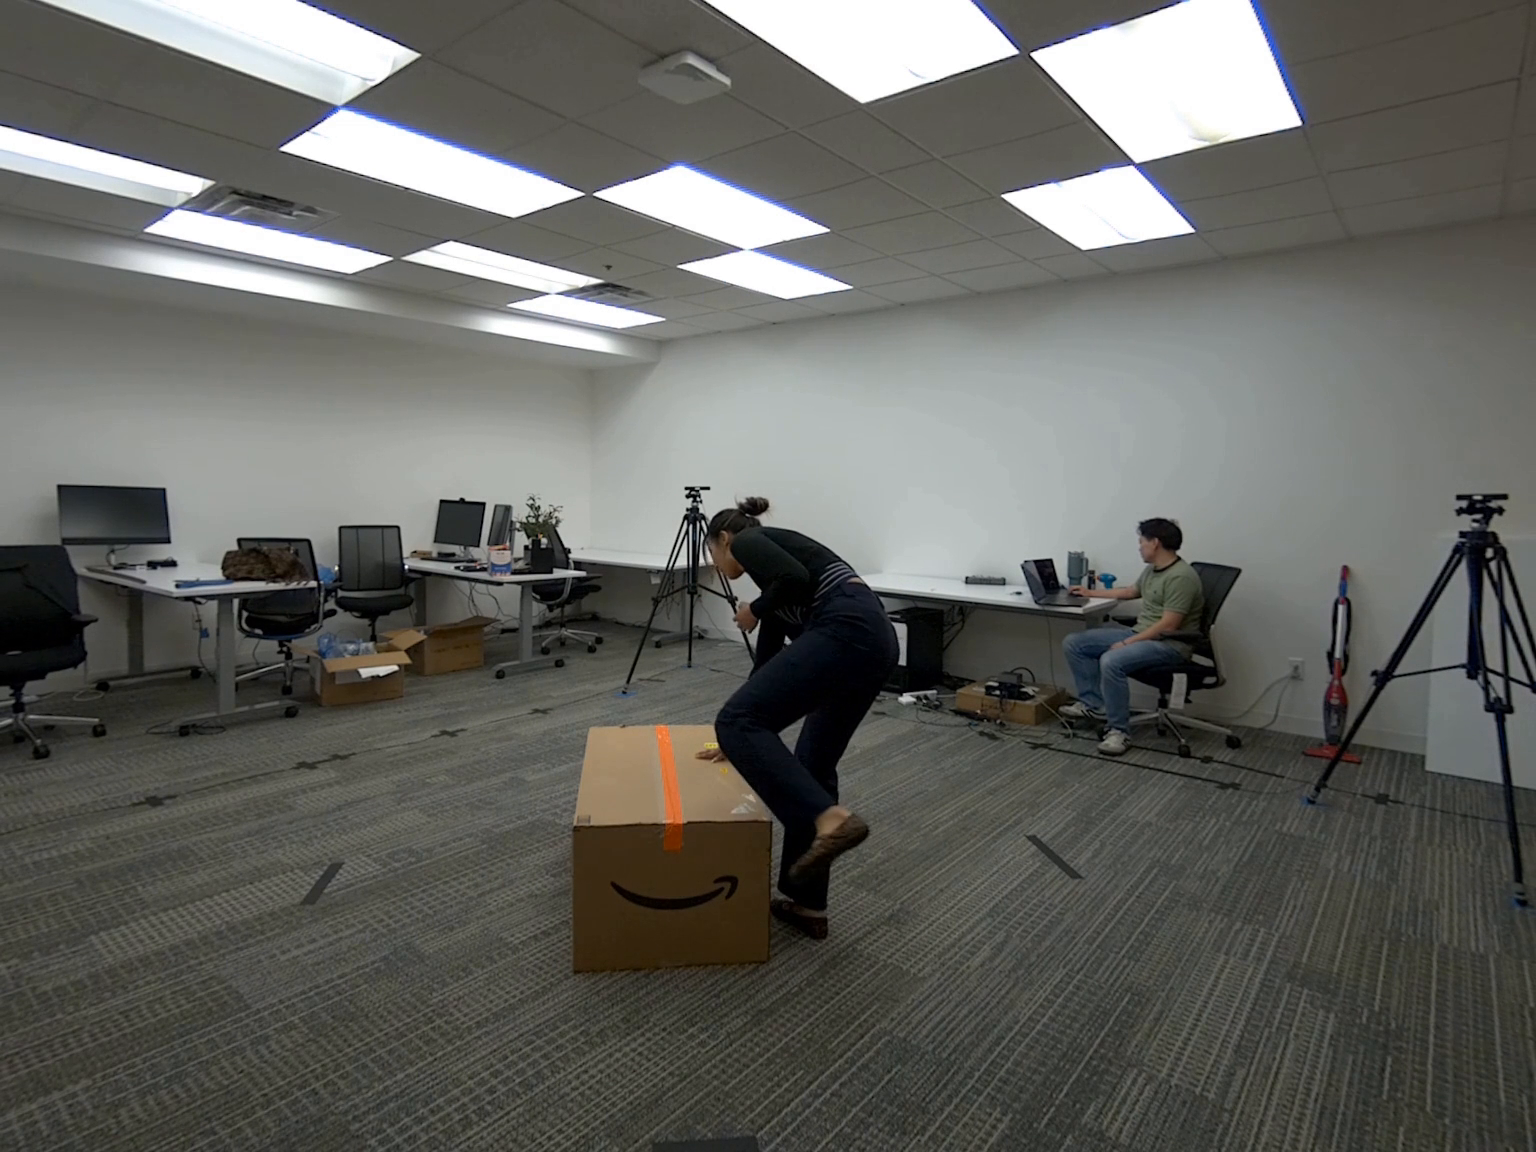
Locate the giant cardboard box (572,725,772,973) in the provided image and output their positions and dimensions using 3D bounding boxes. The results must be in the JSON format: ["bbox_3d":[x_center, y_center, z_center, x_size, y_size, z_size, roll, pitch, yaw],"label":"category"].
[{"bbox_3d":[-0.371,0.865,2.949,0.572,0.425,1.039,1,5,-9],"label":"giant cardboard box"}]
